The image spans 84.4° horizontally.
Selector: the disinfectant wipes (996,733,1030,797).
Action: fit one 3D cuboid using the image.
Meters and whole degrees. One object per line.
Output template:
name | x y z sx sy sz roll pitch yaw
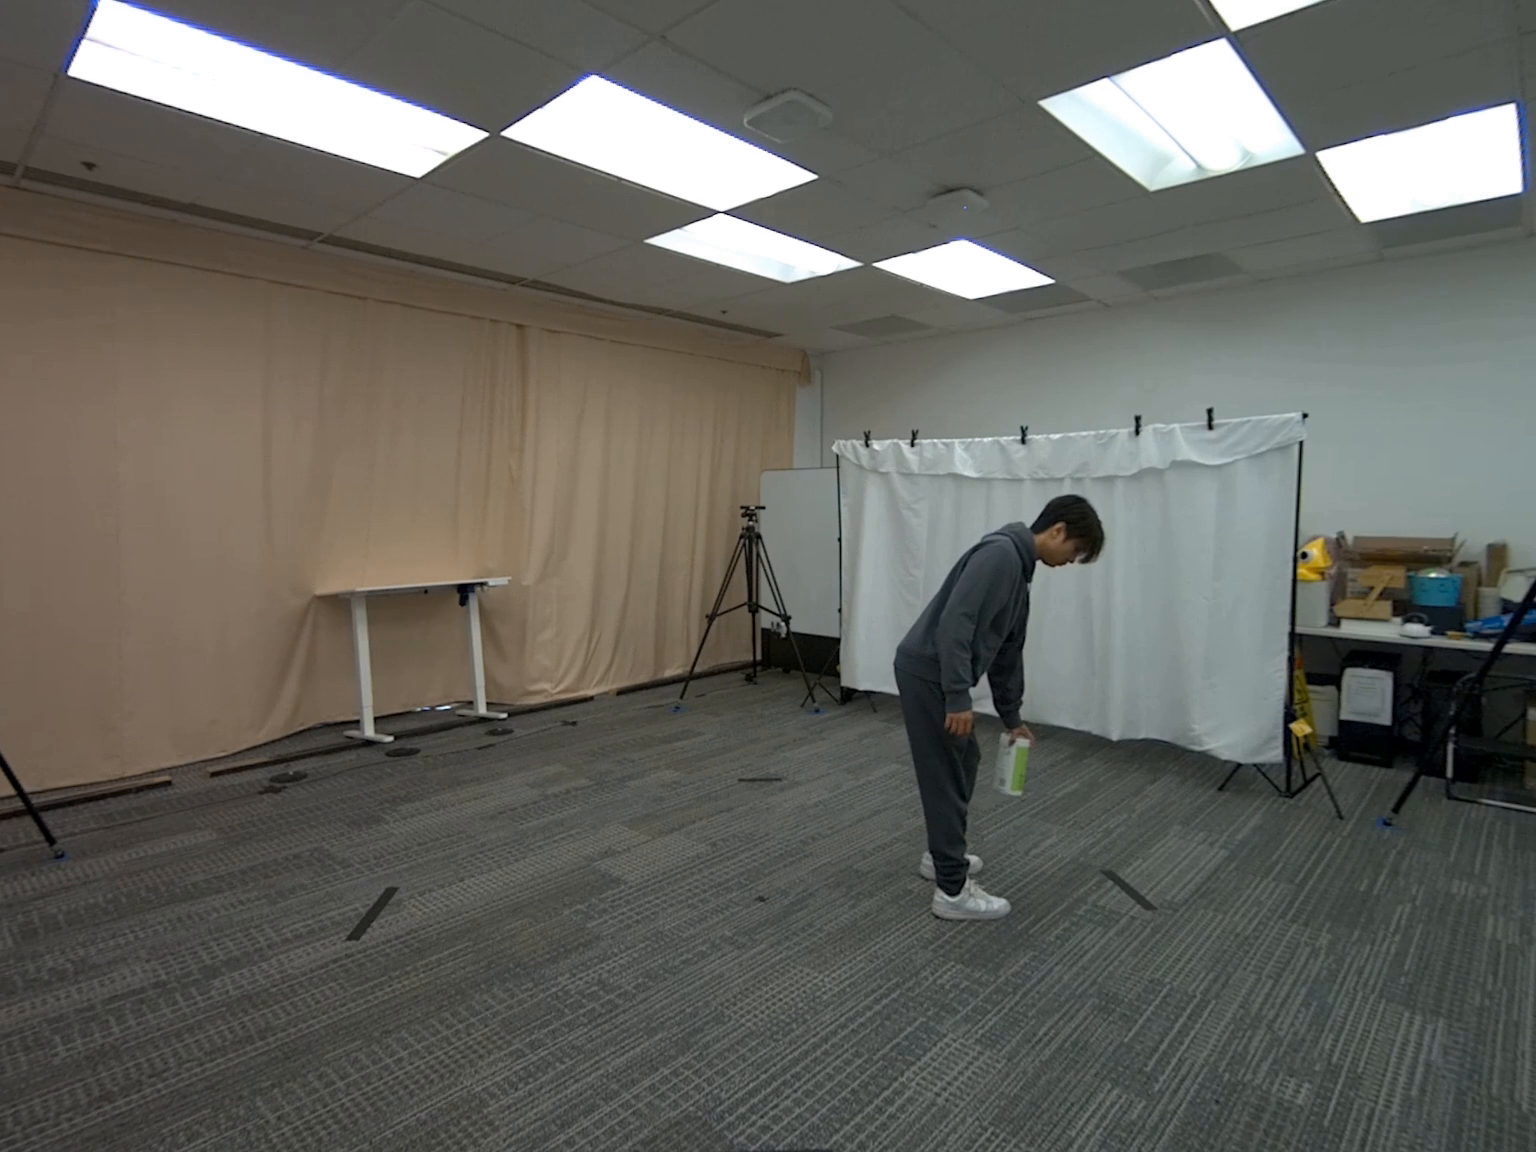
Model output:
disinfectant wipes | 0.929 0.716 3.191 0.118 0.217 0.118 9 0 -2
